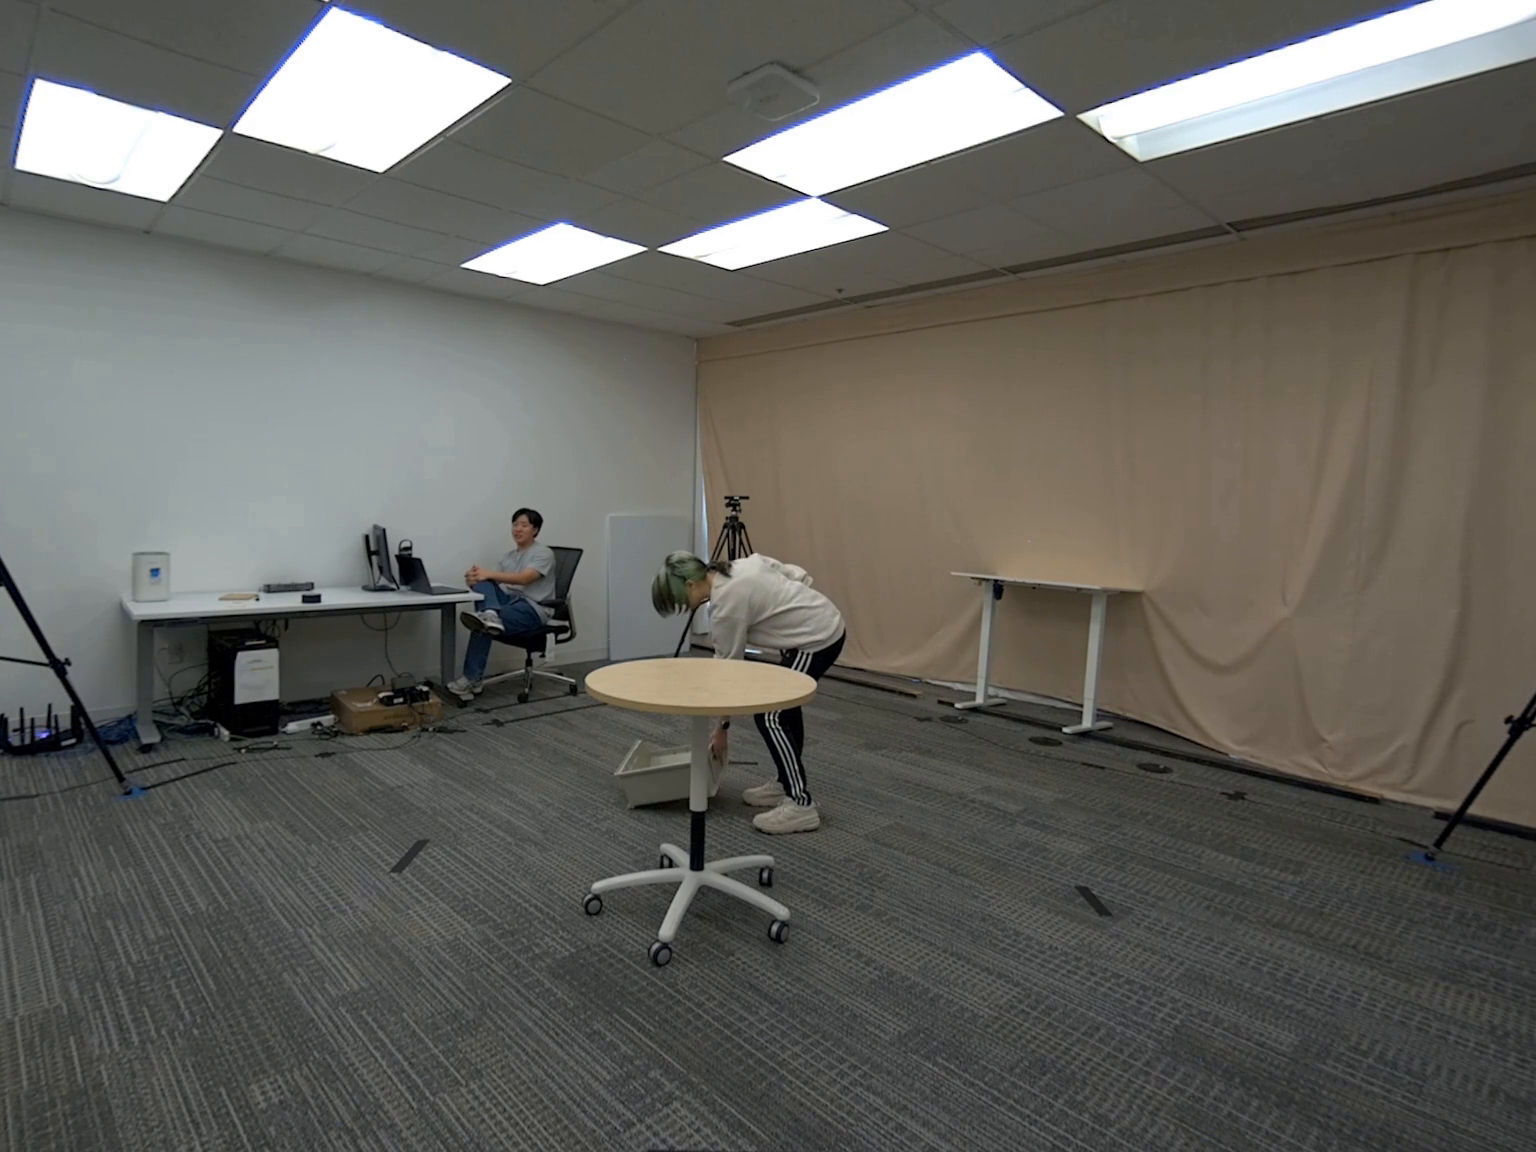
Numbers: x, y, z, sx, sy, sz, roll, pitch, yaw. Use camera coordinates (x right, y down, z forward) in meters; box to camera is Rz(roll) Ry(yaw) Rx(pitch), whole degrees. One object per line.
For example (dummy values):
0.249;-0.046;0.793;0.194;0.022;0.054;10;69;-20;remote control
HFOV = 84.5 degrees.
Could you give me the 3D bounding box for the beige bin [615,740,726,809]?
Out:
-0.430;0.854;3.838;0.426;0.187;0.379;-10;14;12;beige bin
